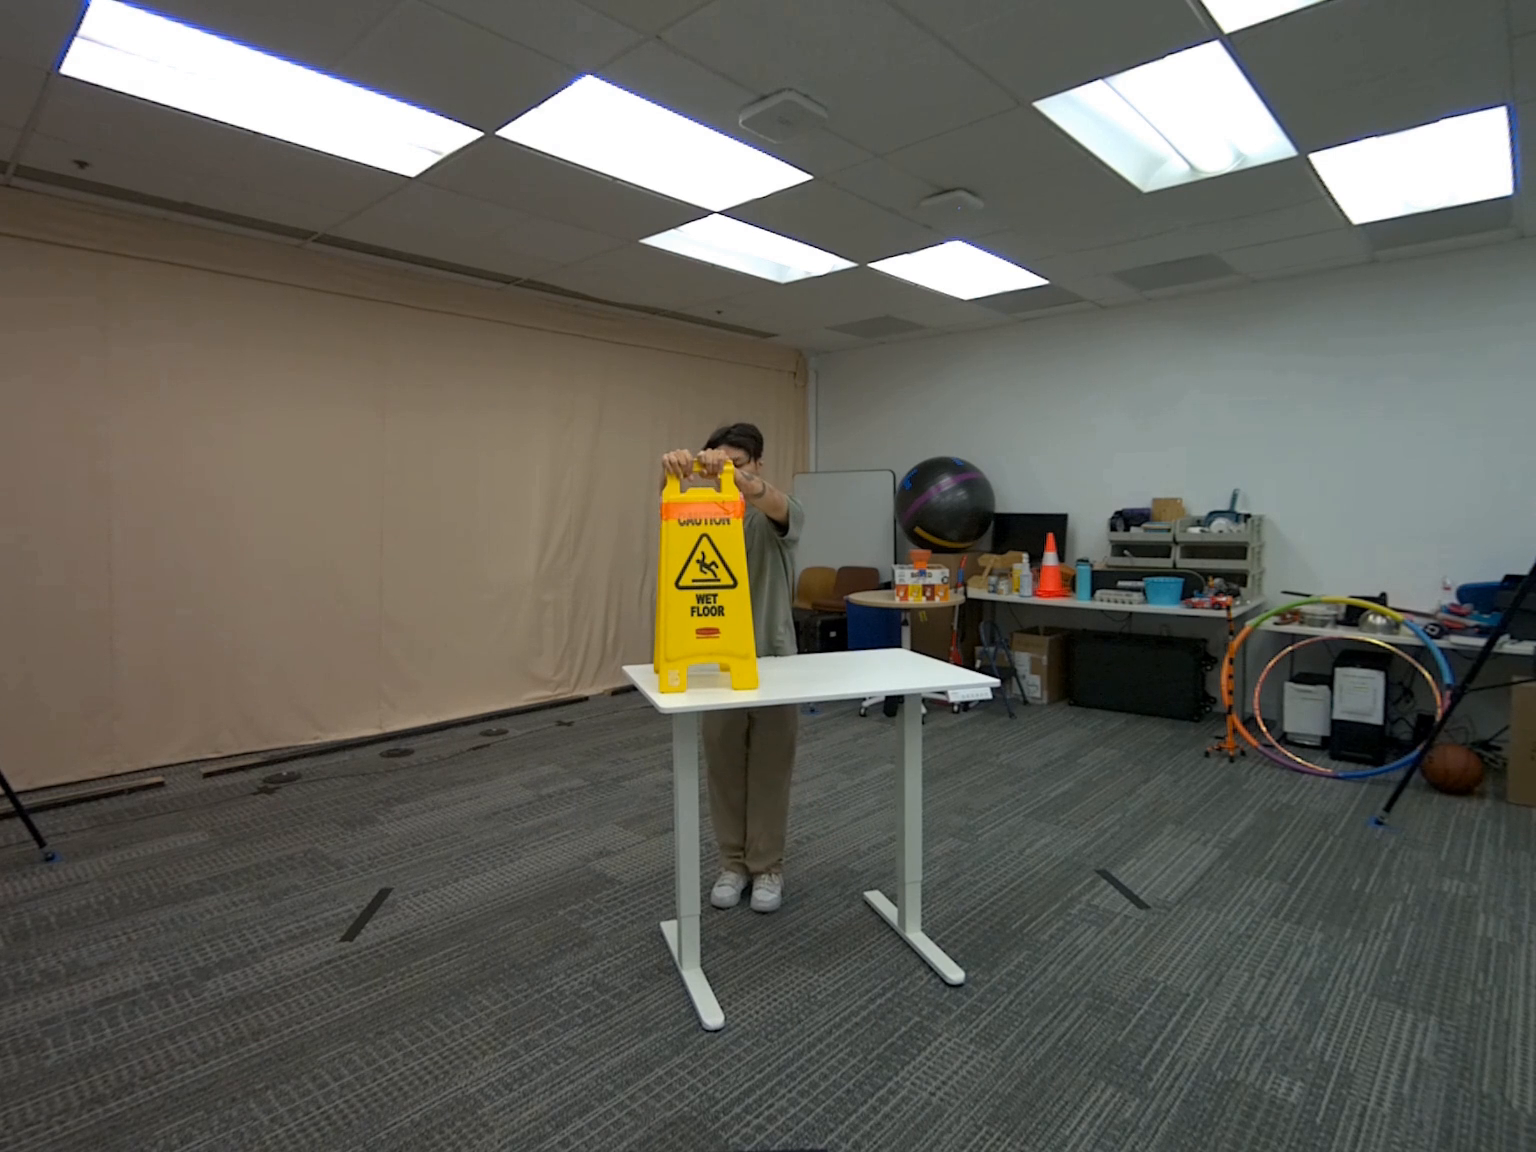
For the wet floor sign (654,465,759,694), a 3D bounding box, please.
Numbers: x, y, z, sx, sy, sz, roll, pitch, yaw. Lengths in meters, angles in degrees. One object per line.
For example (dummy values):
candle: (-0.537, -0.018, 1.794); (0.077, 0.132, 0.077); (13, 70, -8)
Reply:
wet floor sign: (-0.196, -0.009, 2.453); (0.280, 0.645, 0.293); (-3, 3, -9)
